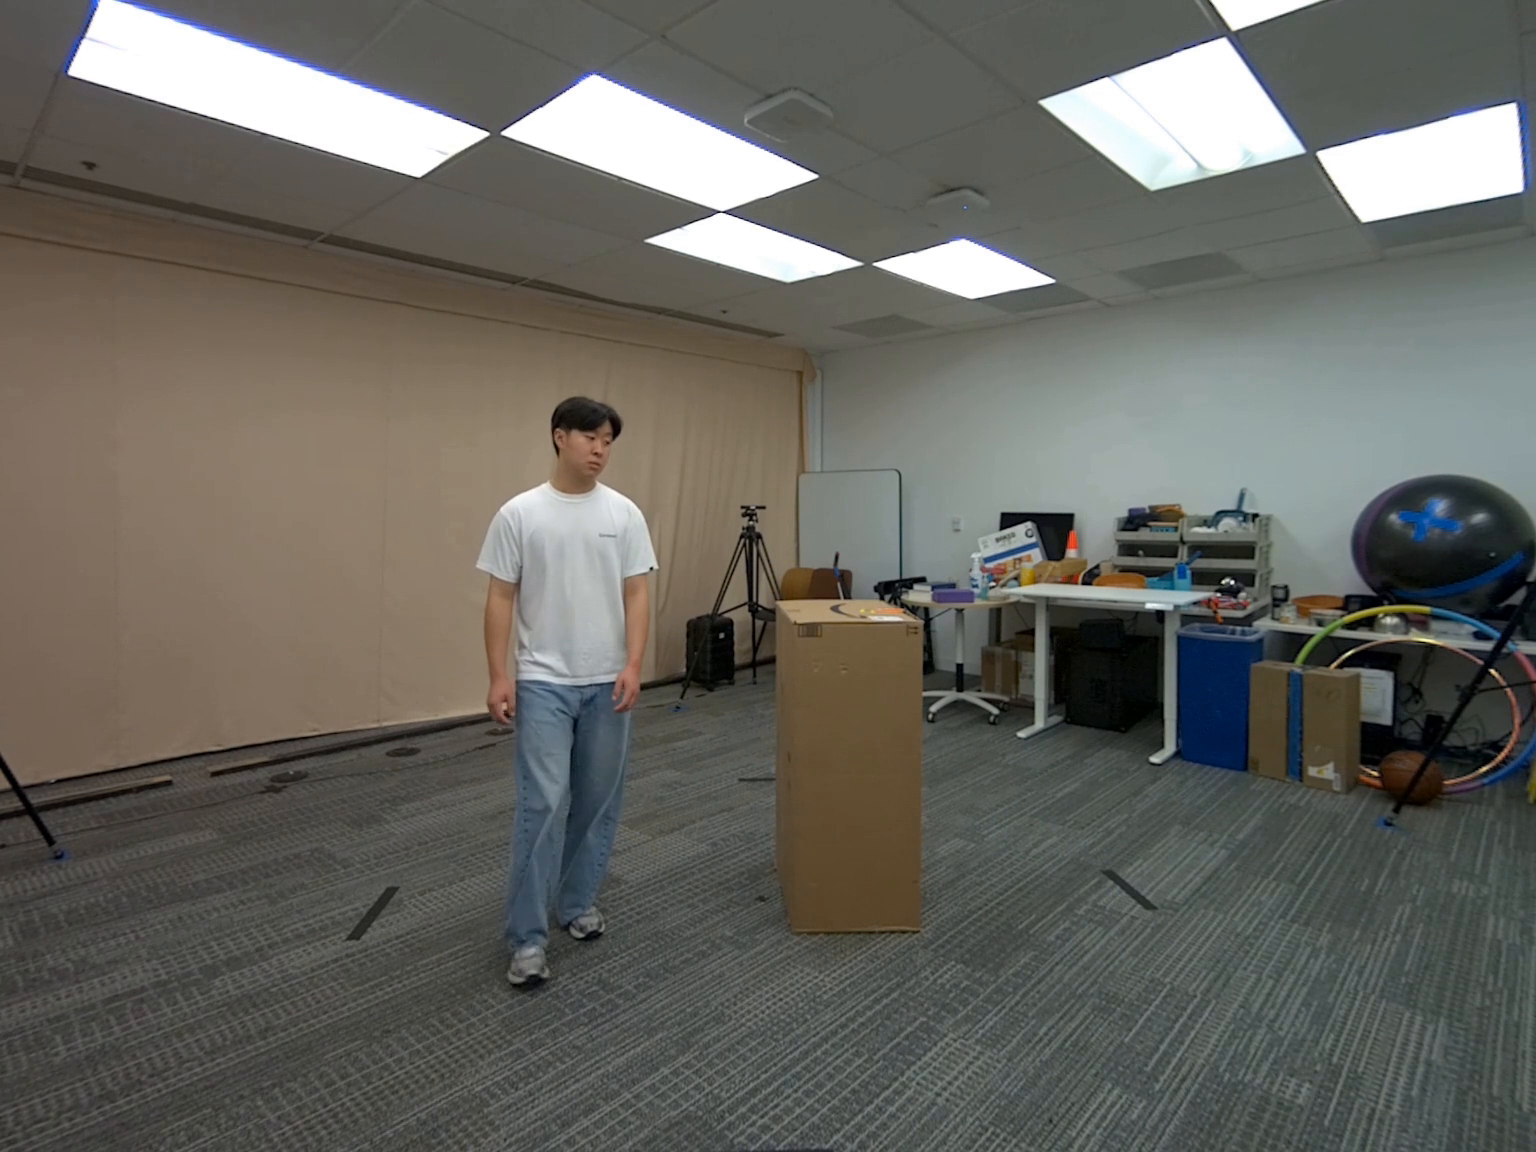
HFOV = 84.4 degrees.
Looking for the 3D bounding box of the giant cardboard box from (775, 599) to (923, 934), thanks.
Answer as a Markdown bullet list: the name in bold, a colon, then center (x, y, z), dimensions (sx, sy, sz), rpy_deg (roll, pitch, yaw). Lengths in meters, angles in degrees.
- **giant cardboard box**: center (0.271, 0.633, 2.997), dimensions (0.425, 1.024, 0.581), rpy_deg (0, 3, -5)
